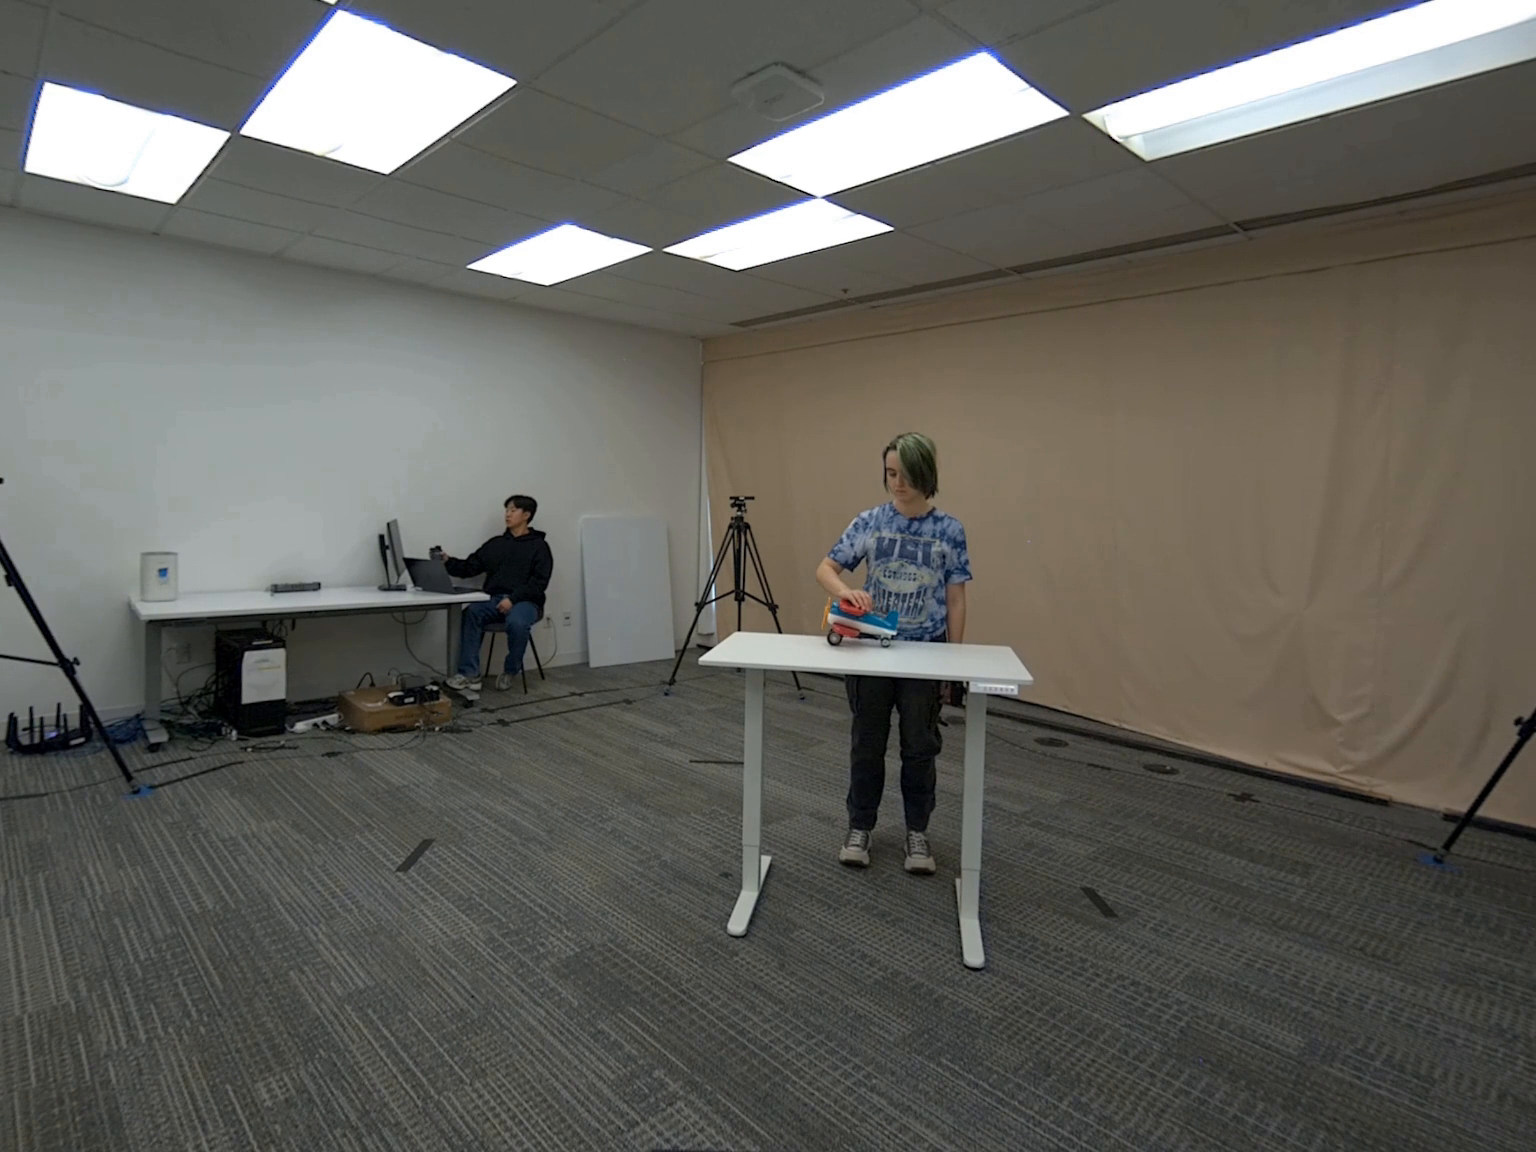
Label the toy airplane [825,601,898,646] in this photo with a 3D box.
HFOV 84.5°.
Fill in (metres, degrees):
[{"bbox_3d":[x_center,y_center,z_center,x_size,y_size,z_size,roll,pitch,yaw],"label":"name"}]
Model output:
[{"bbox_3d":[0.320,0.167,2.992,0.256,0.156,0.255,-1,5,-16],"label":"toy airplane"}]
